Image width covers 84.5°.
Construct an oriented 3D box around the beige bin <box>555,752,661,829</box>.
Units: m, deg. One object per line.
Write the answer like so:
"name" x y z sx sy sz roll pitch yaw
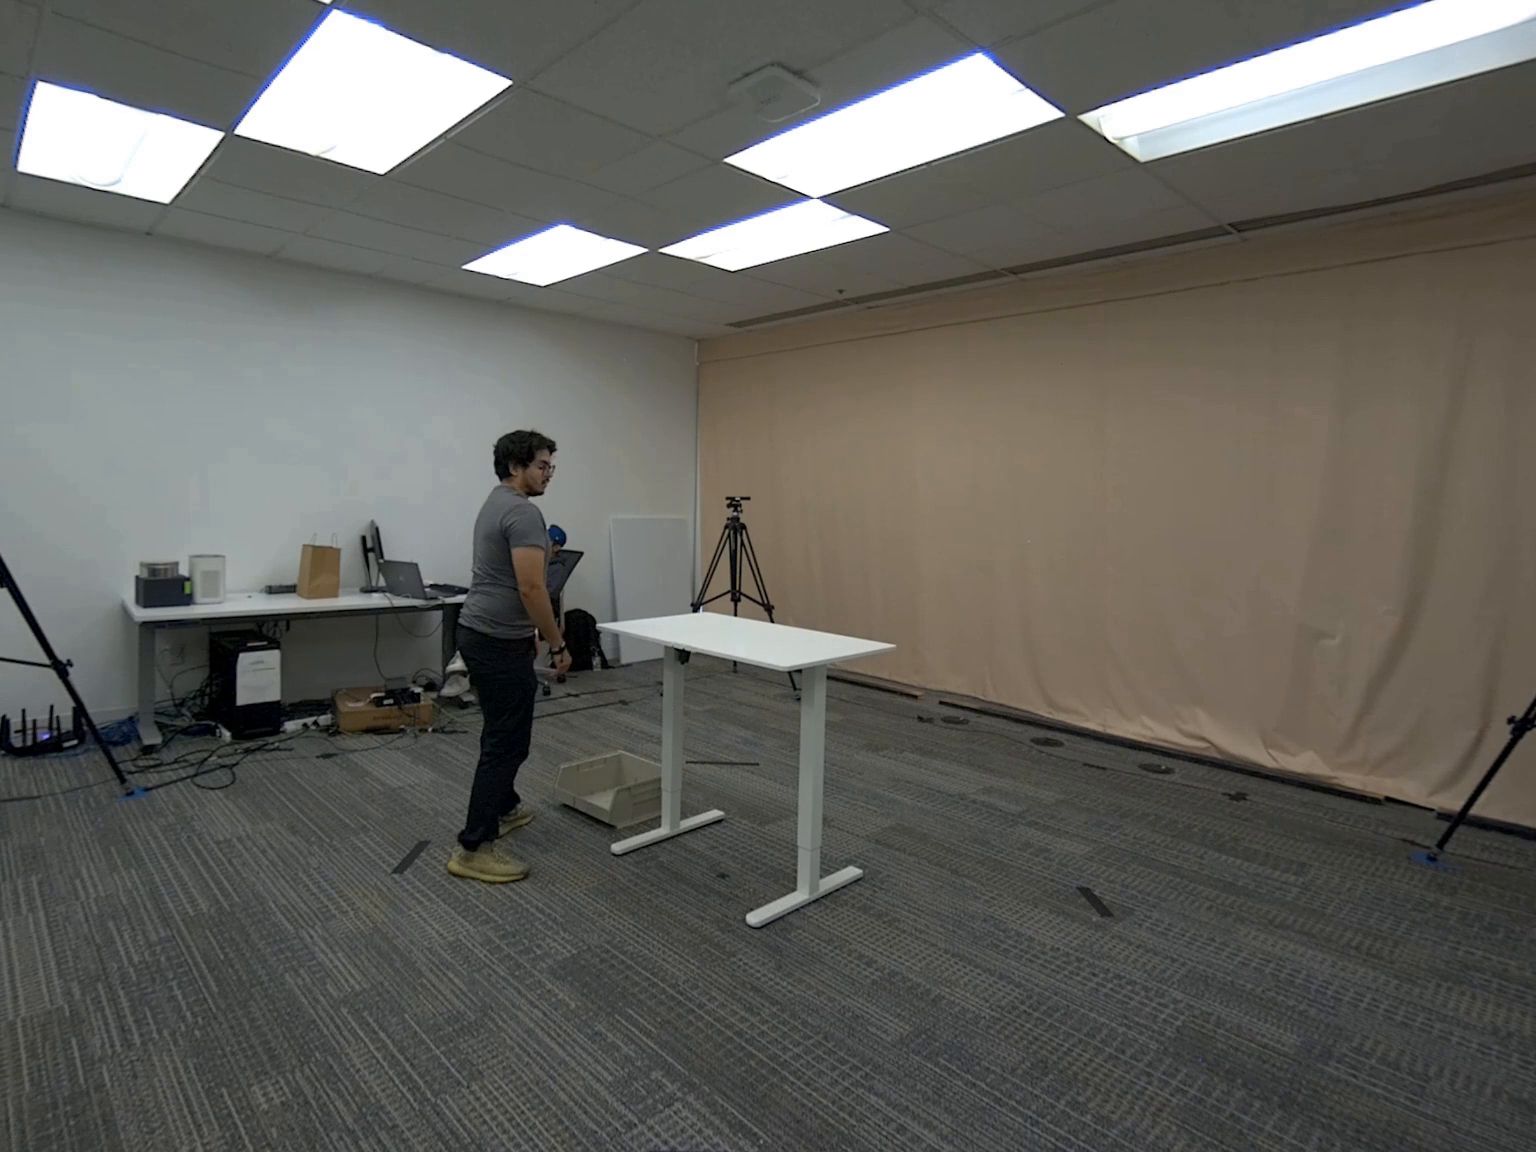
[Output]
"beige bin" -0.692 0.949 3.758 0.433 0.188 0.368 5 5 43
